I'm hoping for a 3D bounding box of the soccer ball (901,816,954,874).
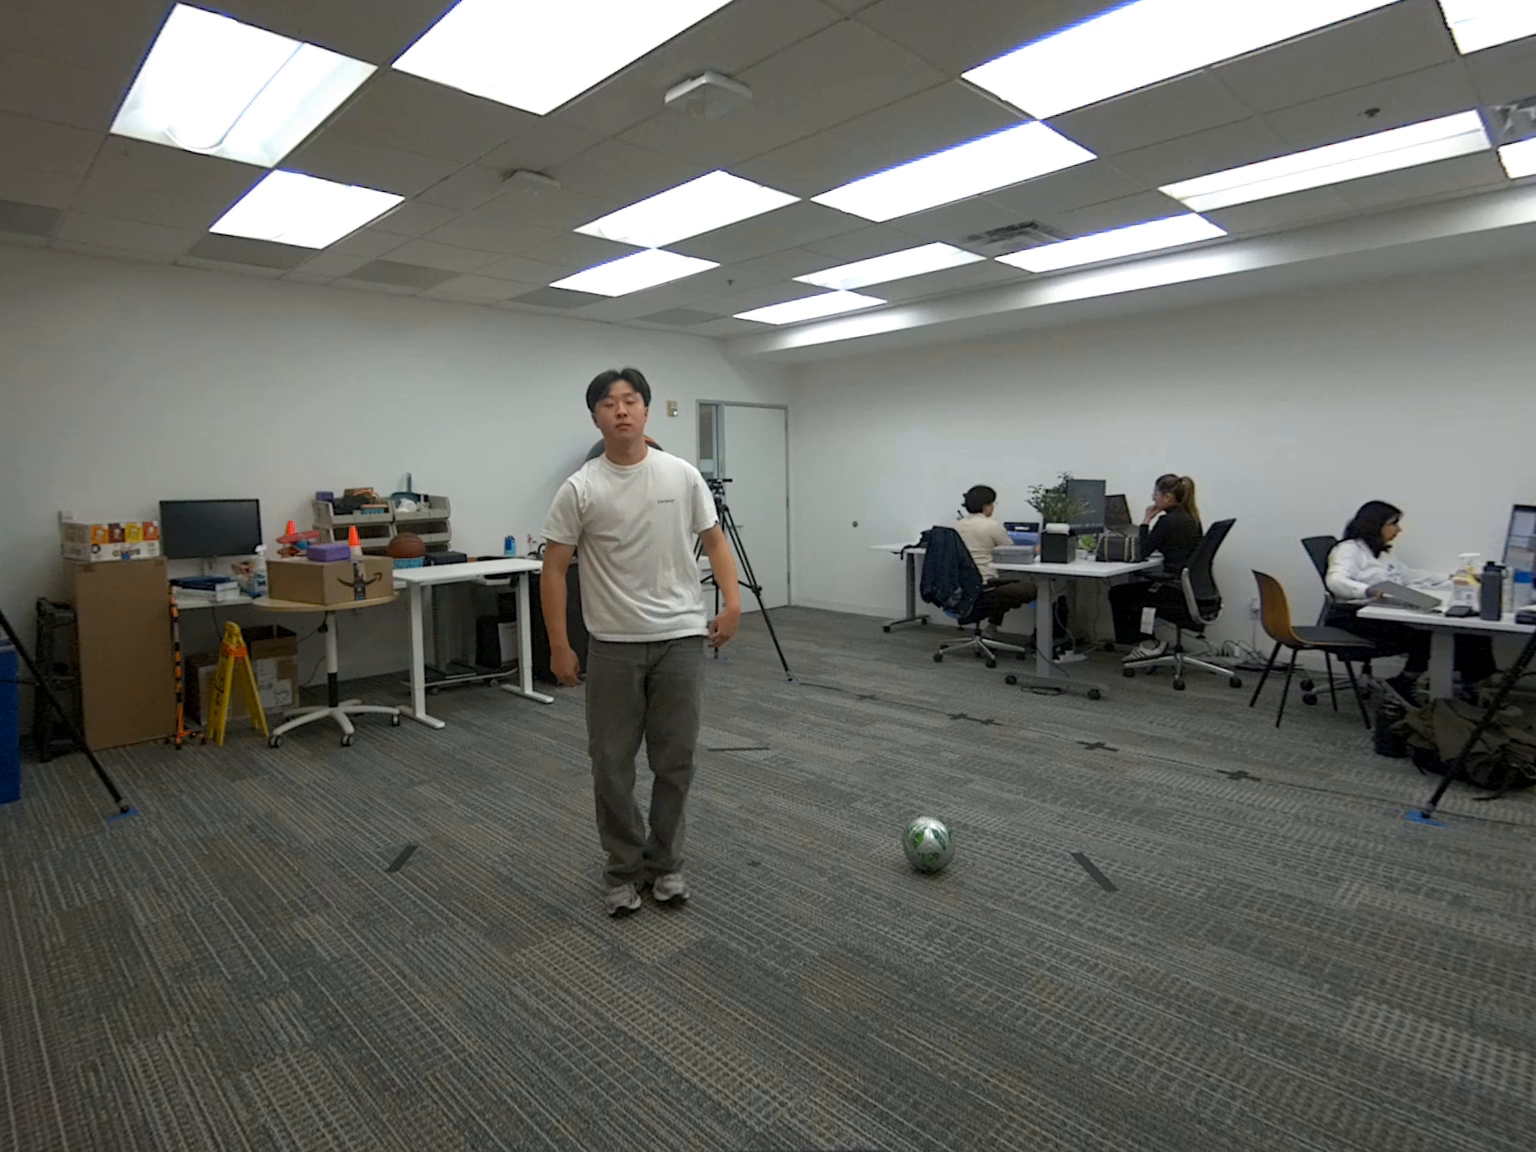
[{"bbox_3d":[0.570,0.949,3.034,0.187,0.187,0.188,-1,5,-2],"label":"soccer ball"}]
